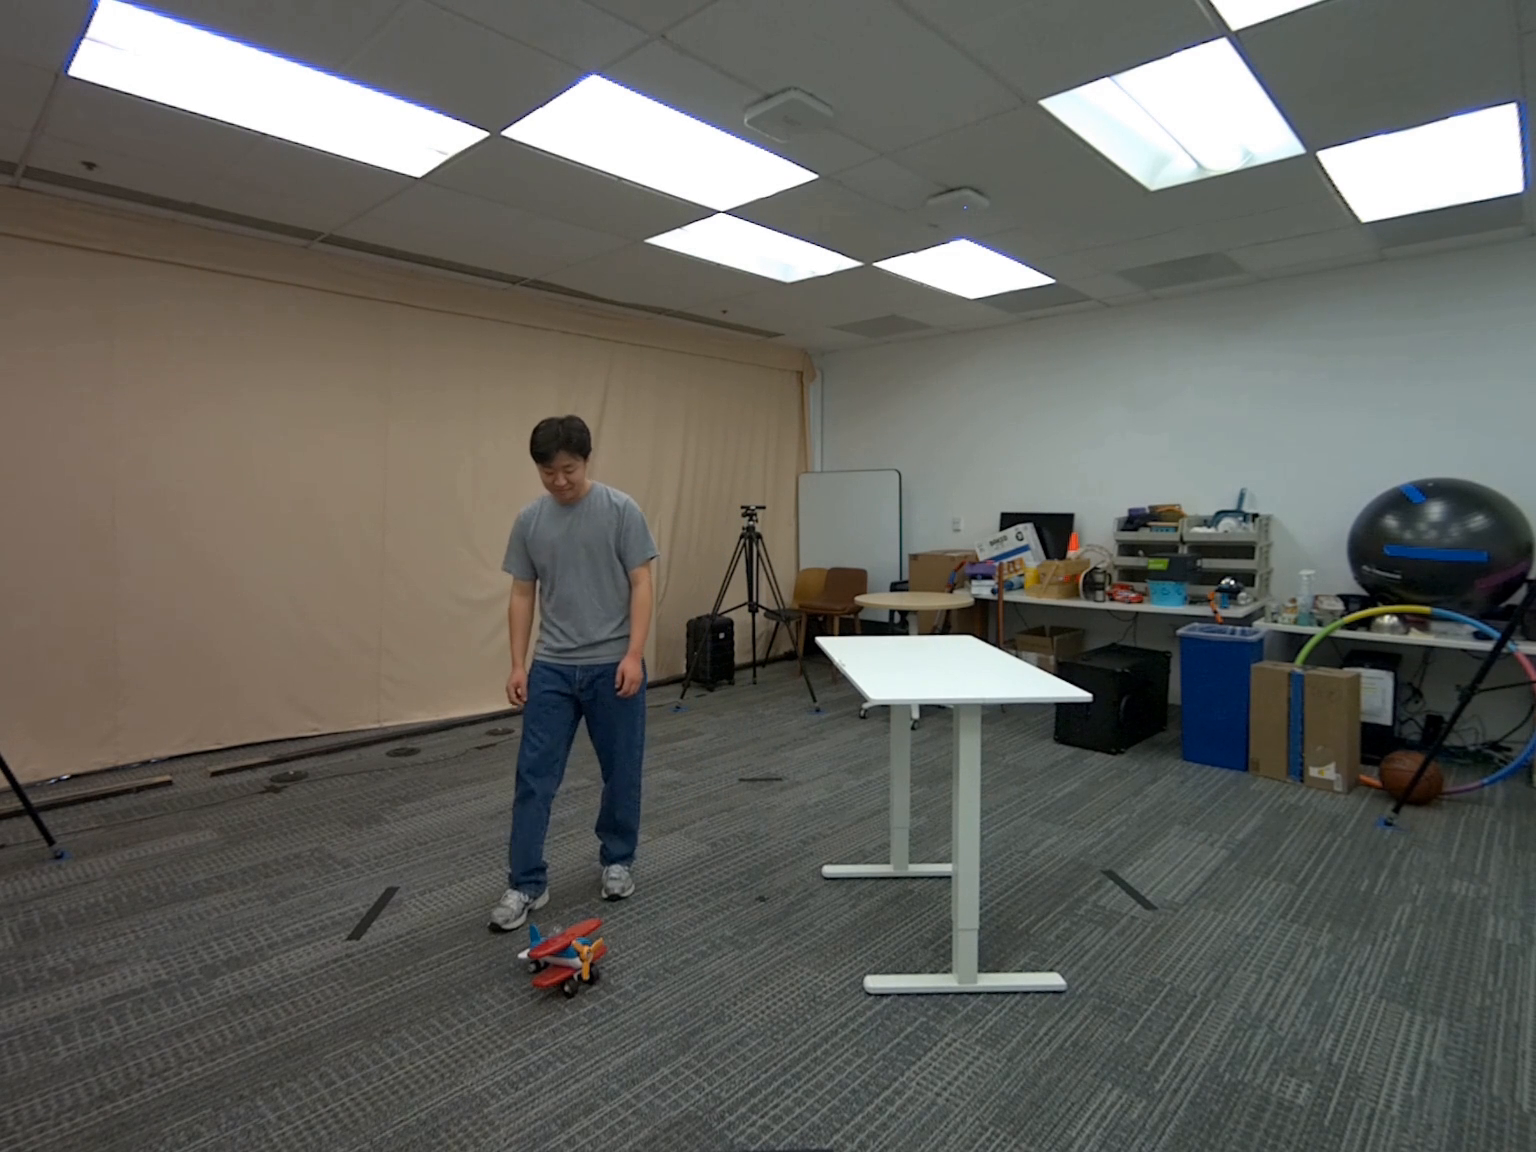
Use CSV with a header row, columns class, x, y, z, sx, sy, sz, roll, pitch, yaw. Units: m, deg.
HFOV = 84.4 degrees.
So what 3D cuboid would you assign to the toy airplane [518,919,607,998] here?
class,x,y,z,sx,sy,sz,roll,pitch,yaw
toy airplane,-0.620,1.117,2.453,0.261,0.156,0.249,2,4,7
